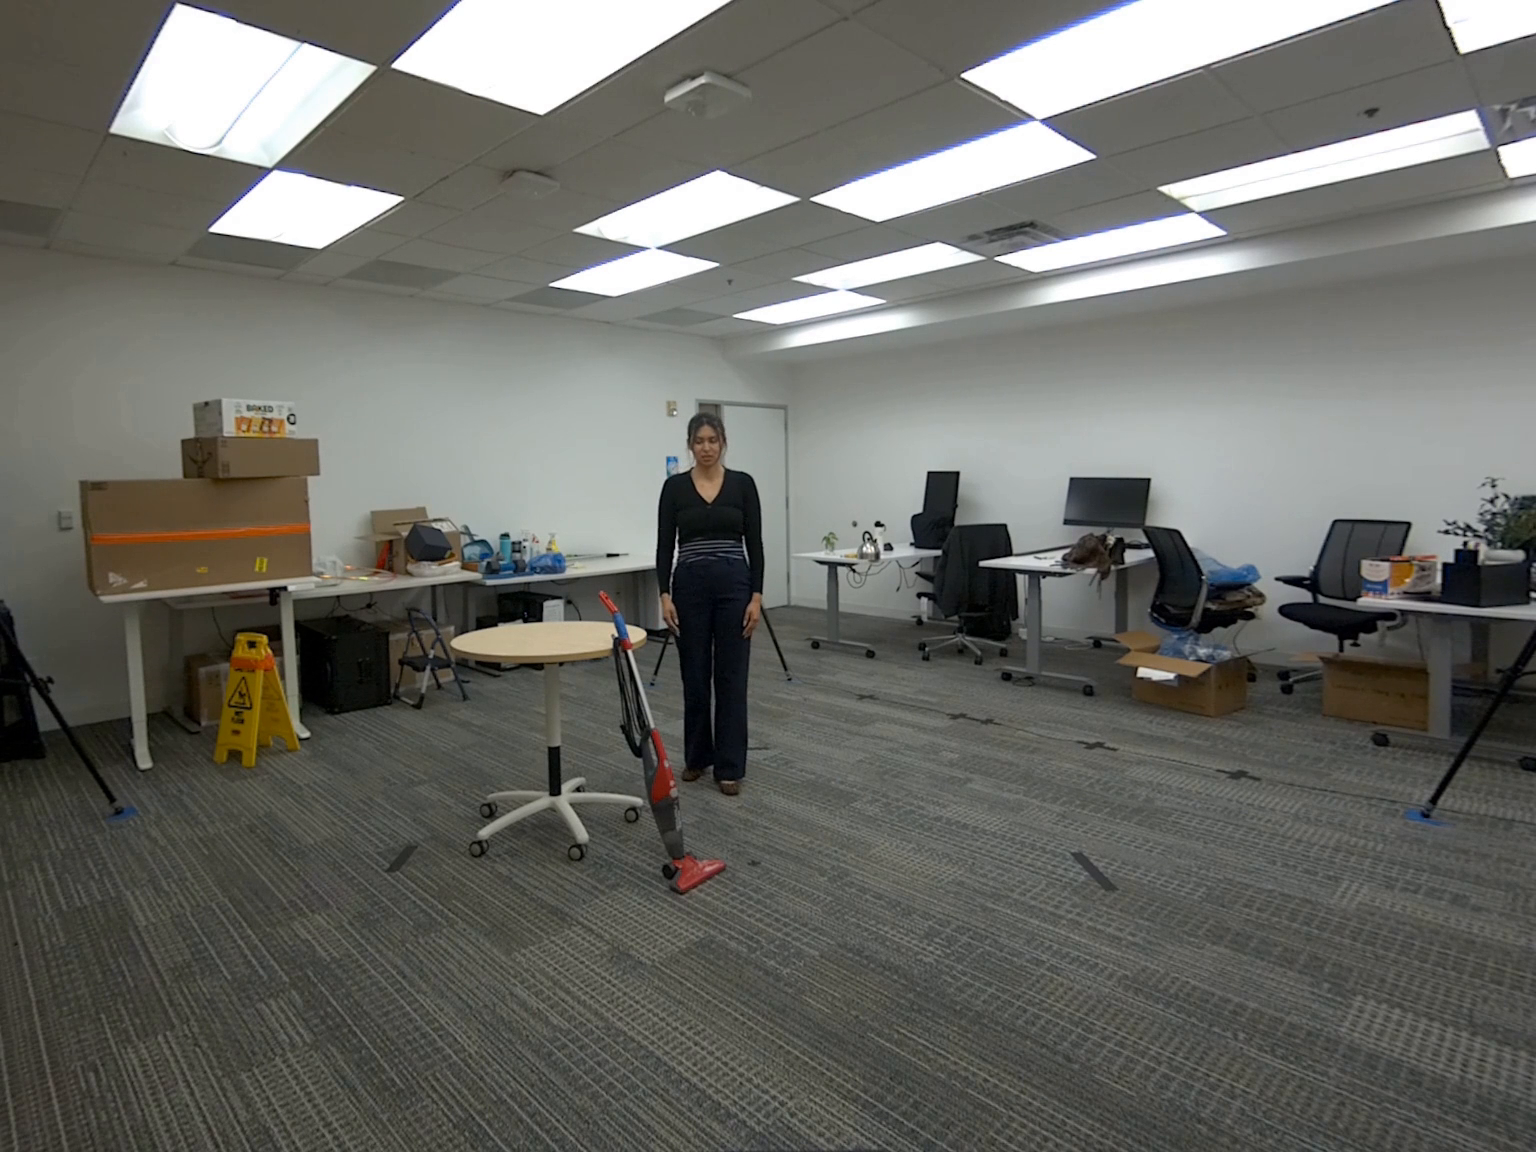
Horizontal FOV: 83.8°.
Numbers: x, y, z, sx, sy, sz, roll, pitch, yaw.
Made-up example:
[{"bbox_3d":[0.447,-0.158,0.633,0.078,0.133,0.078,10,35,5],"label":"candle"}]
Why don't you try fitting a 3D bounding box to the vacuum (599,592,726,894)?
[{"bbox_3d":[-0.445,0.570,3.110,0.146,1.064,0.246,-28,-15,38],"label":"vacuum"}]
